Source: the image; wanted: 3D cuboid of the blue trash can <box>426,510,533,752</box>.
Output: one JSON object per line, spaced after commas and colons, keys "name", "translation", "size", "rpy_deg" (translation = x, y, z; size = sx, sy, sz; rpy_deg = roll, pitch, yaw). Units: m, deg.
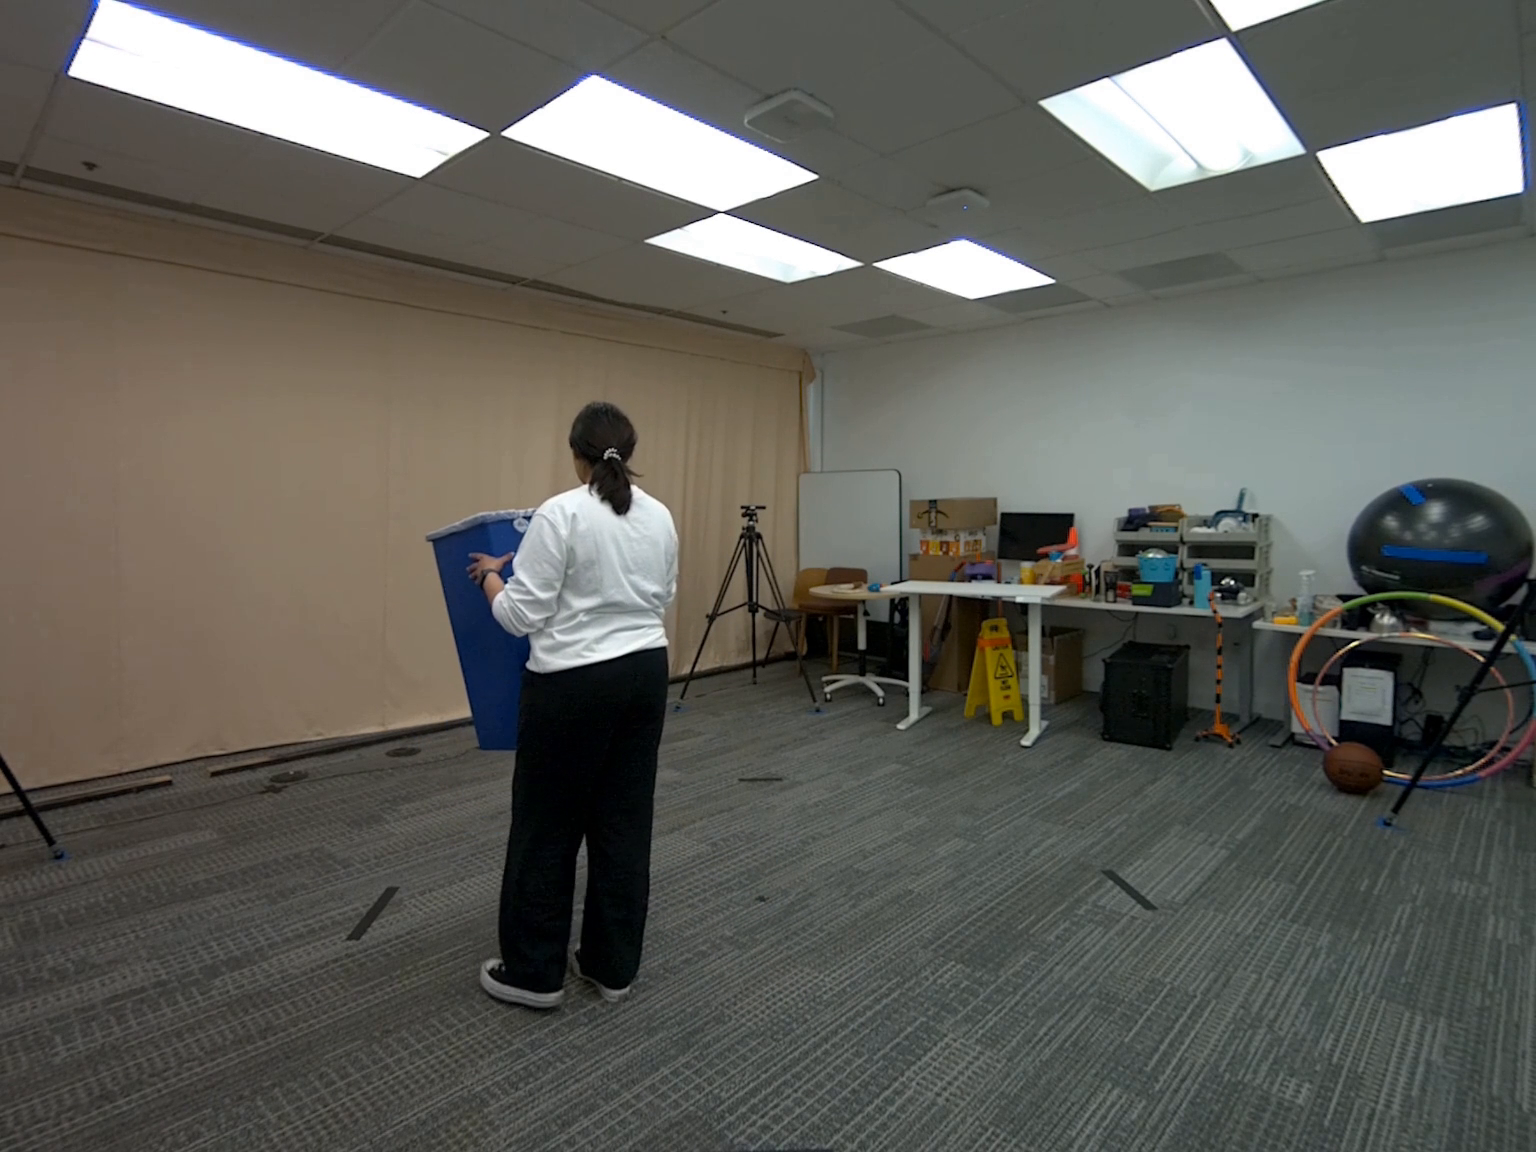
{"name": "blue trash can", "translation": [-0.799, 0.169, 2.704], "size": [0.384, 0.714, 0.367], "rpy_deg": [-12, -1, 39]}
